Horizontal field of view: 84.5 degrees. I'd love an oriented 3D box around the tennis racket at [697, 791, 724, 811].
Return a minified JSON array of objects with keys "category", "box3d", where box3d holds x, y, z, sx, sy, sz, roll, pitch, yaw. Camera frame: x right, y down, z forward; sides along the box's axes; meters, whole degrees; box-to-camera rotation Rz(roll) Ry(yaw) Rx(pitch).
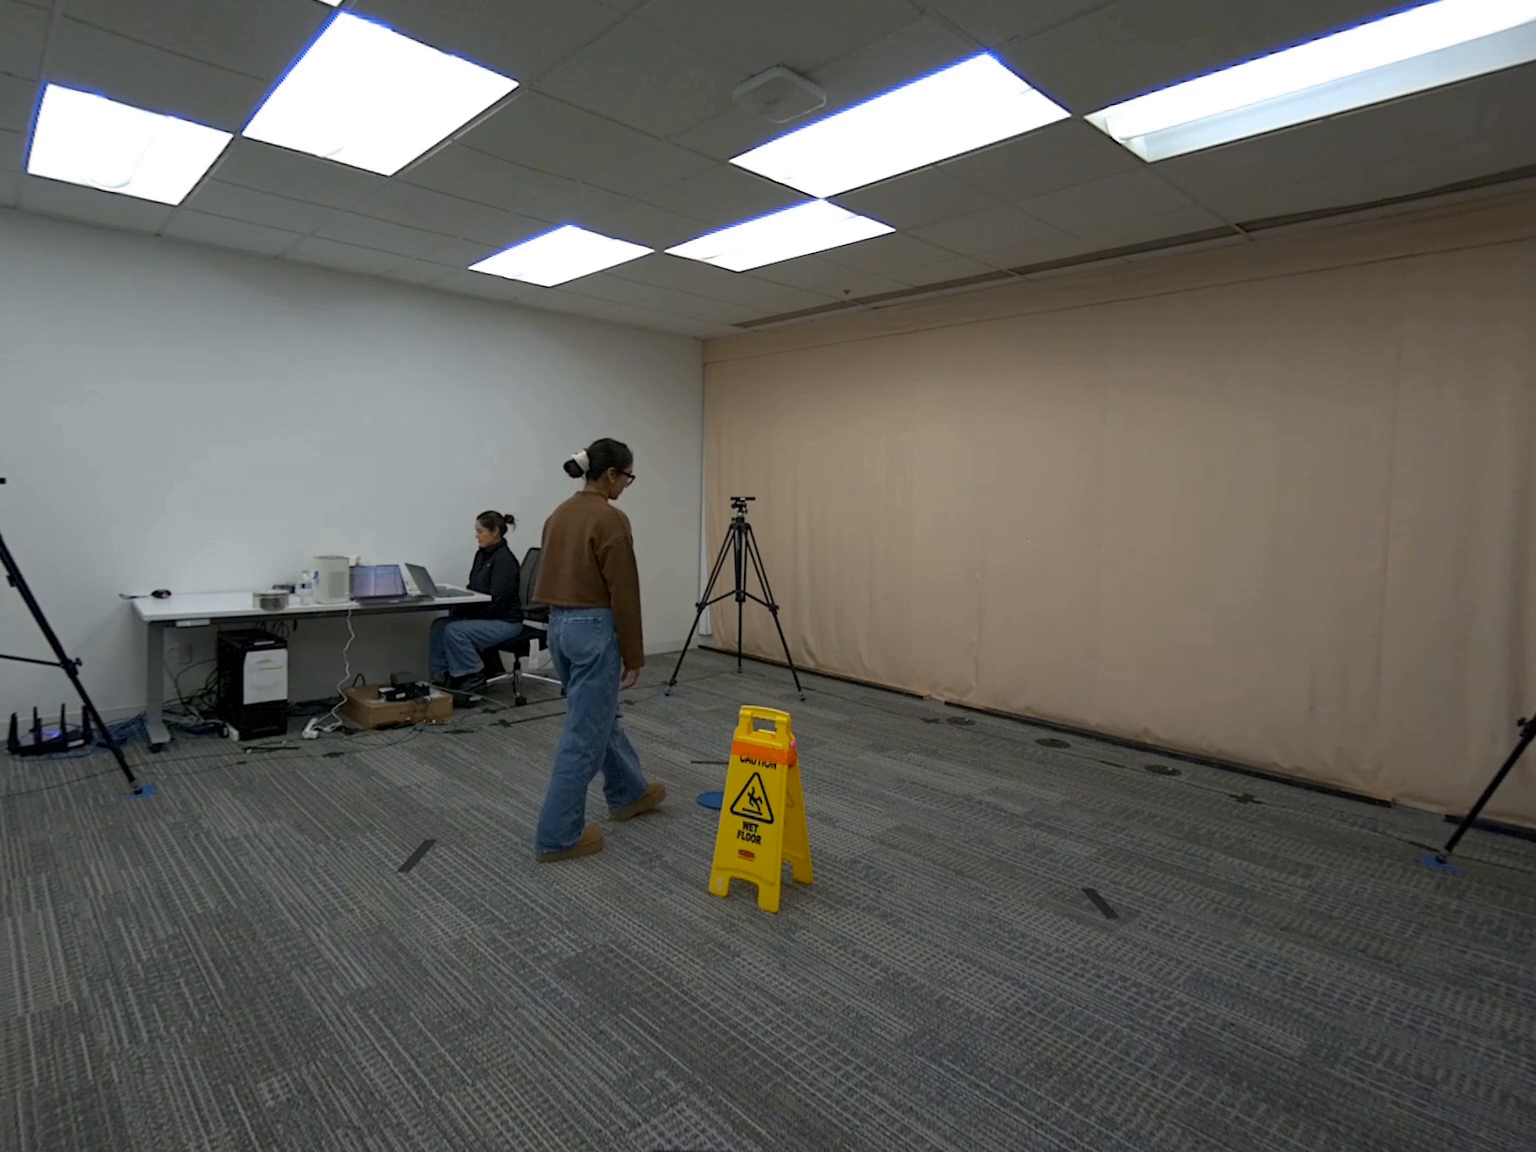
[{"category":"tennis racket","box3d":[-0.138,1.032,3.816,0.442,0.031,0.209,4,6,31]}]
